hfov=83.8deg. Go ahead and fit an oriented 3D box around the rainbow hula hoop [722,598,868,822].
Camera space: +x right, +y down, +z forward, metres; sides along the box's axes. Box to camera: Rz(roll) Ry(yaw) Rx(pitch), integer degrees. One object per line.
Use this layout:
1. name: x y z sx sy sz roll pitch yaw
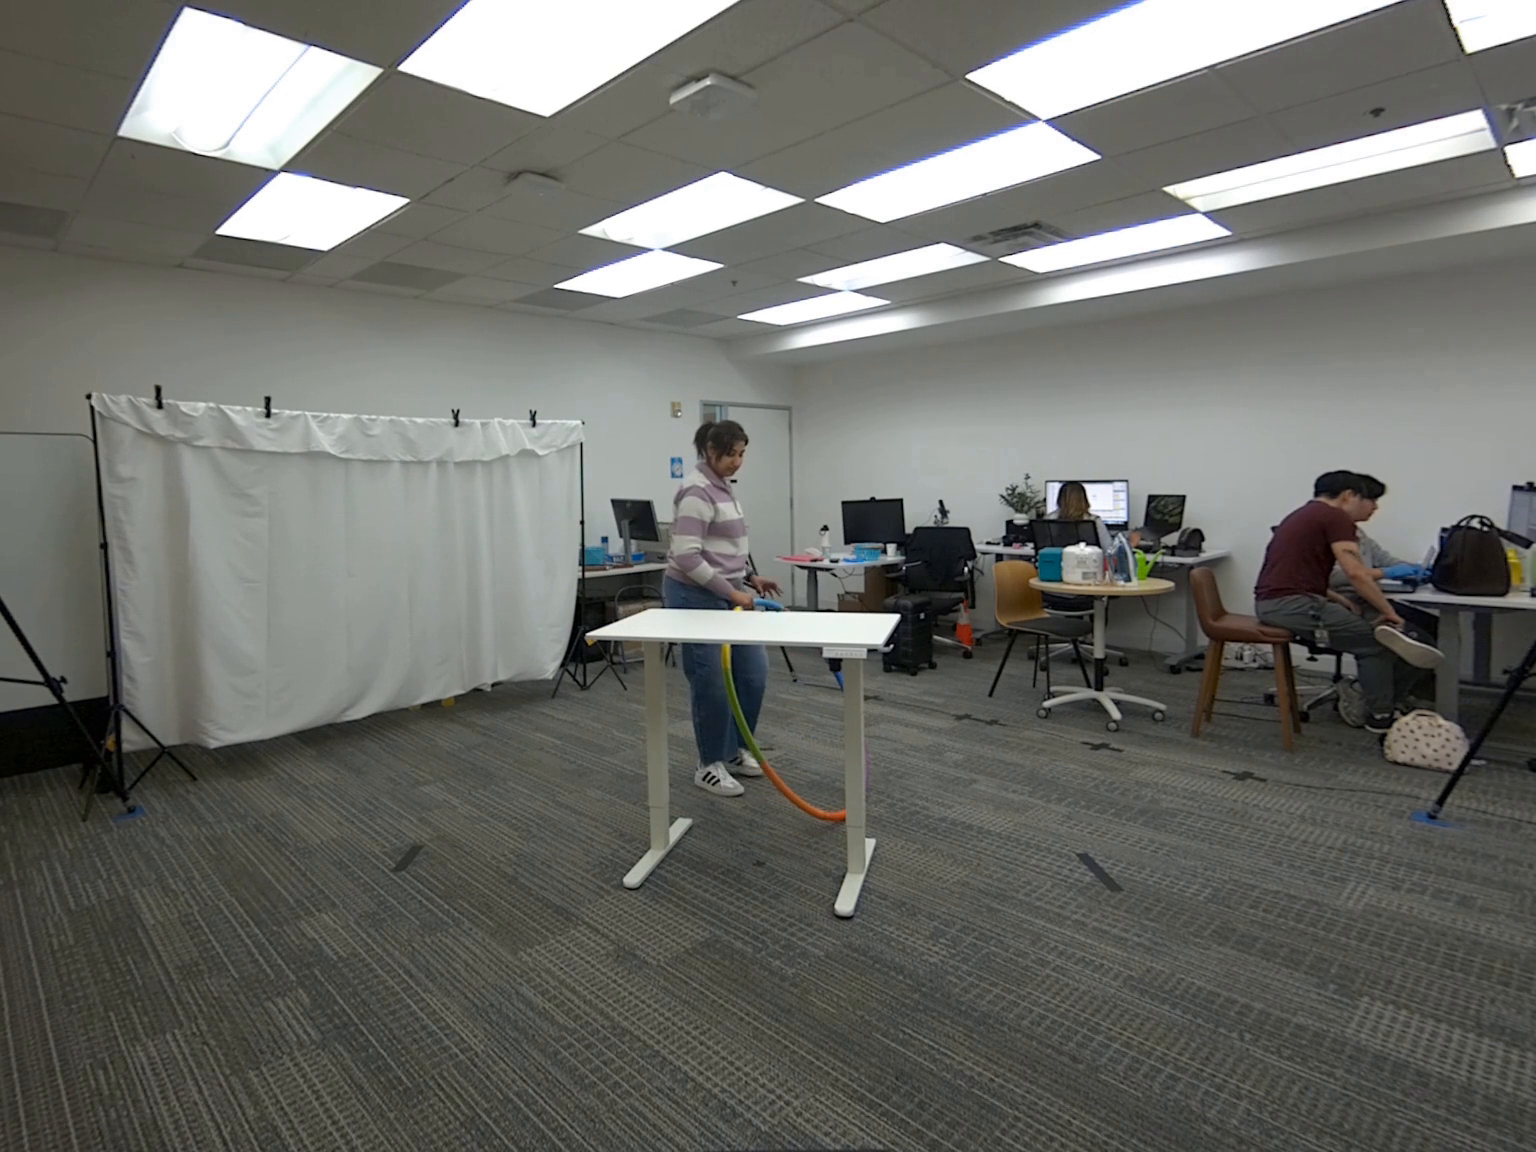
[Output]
1. rainbow hula hoop: 0.137 0.551 3.664 0.036 0.993 0.957 -34 -12 27
